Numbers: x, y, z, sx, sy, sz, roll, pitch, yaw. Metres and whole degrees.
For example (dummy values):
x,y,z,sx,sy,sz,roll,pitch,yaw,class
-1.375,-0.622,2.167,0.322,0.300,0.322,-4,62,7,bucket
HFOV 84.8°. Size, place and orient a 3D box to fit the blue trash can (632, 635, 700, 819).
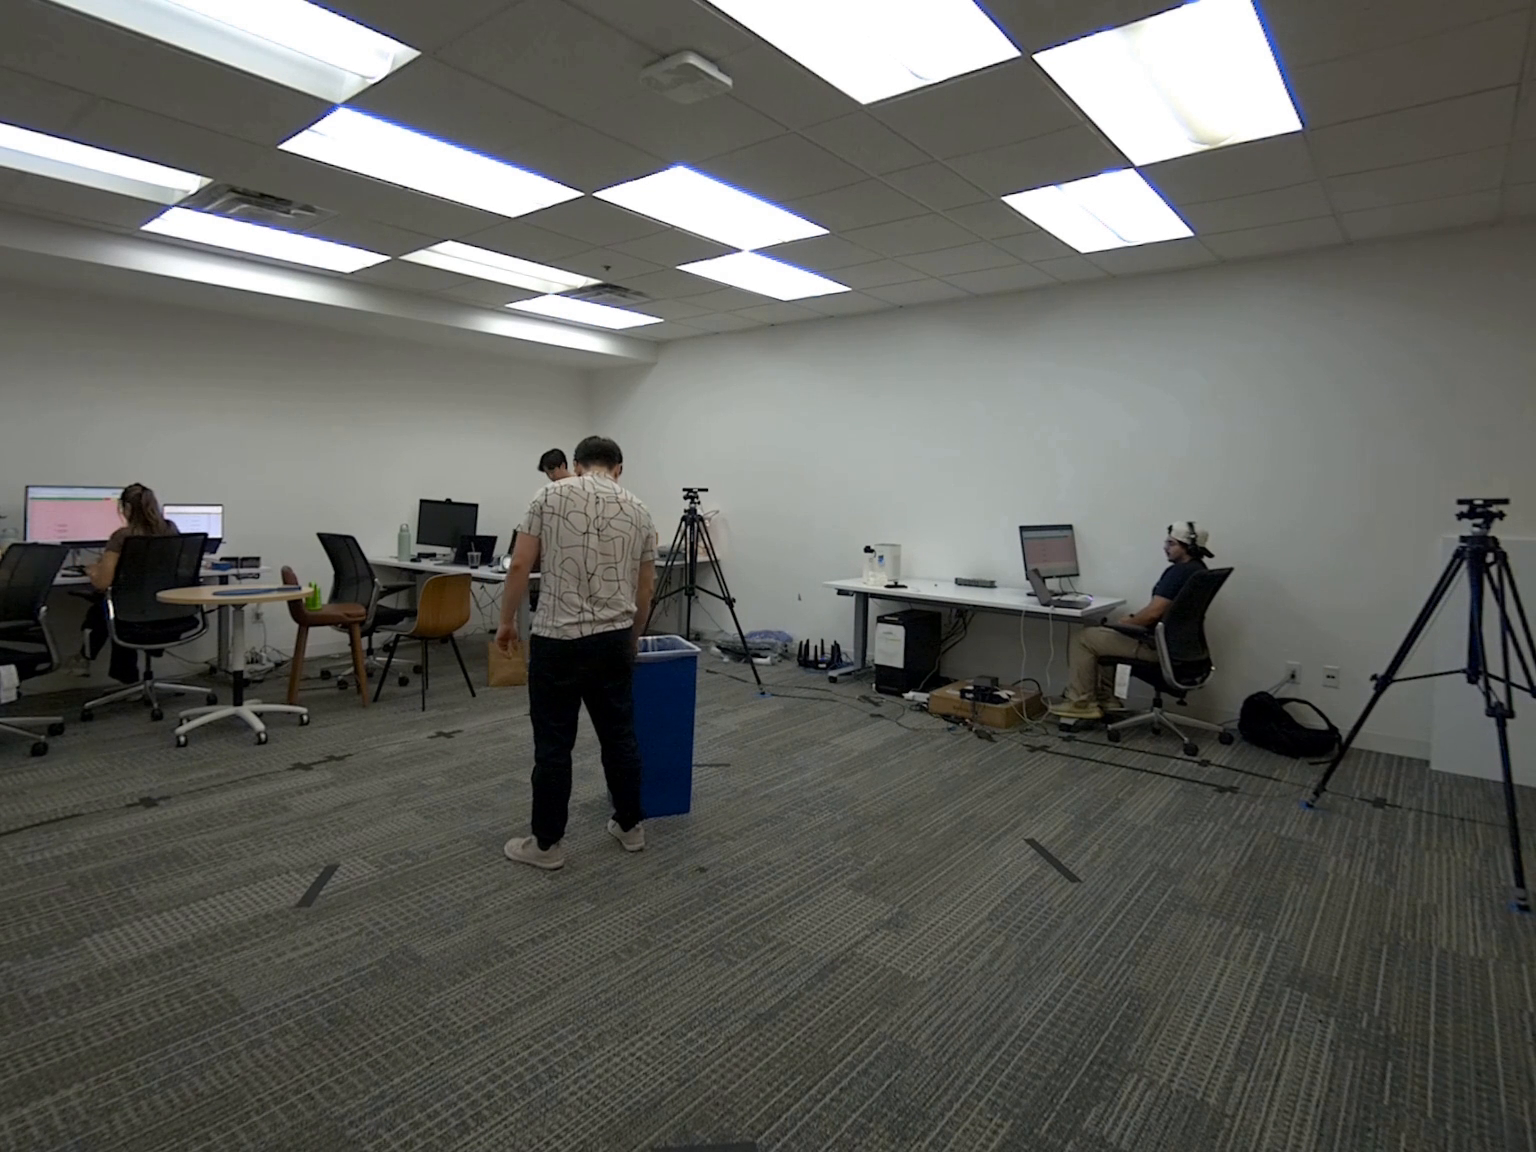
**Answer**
x,y,z,sx,sy,sz,roll,pitch,yaw,class
-0.524,0.647,3.716,0.370,0.711,0.384,-1,4,-23,blue trash can
